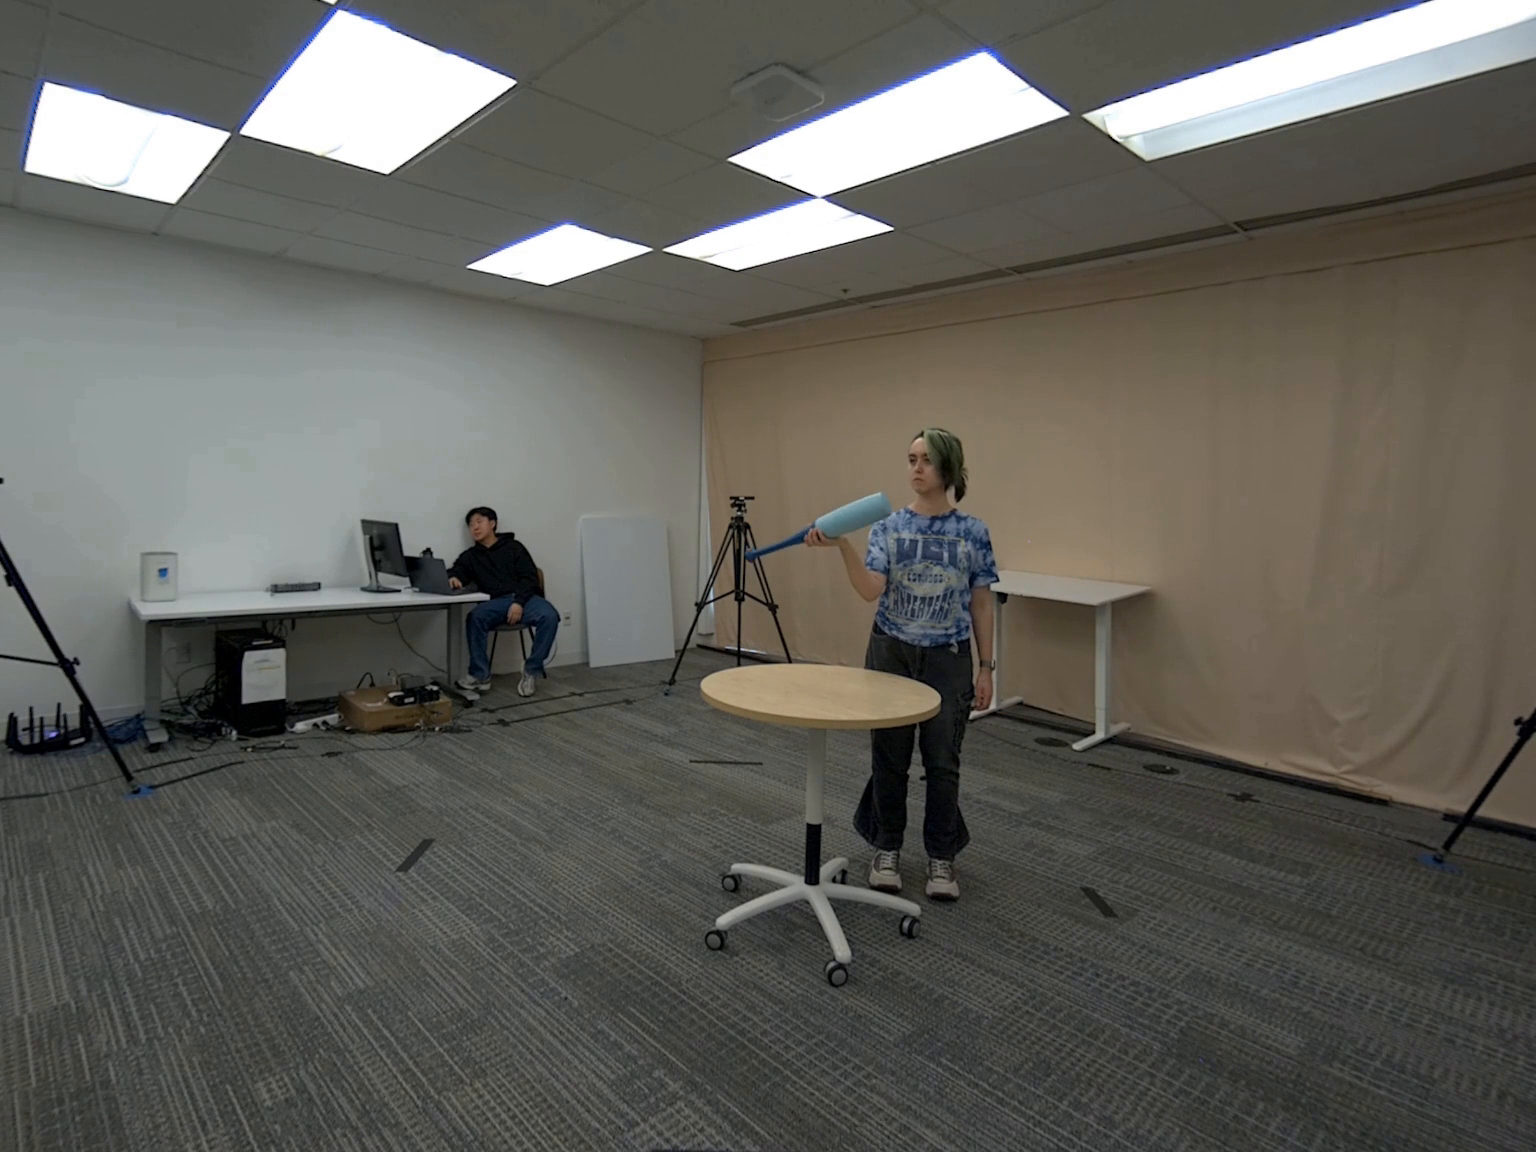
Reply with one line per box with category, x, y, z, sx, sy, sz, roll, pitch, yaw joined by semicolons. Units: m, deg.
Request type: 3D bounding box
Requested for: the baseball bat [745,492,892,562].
baseball bat;0.153;-0.147;2.814;0.549;0.089;0.087;-20;-6;28
